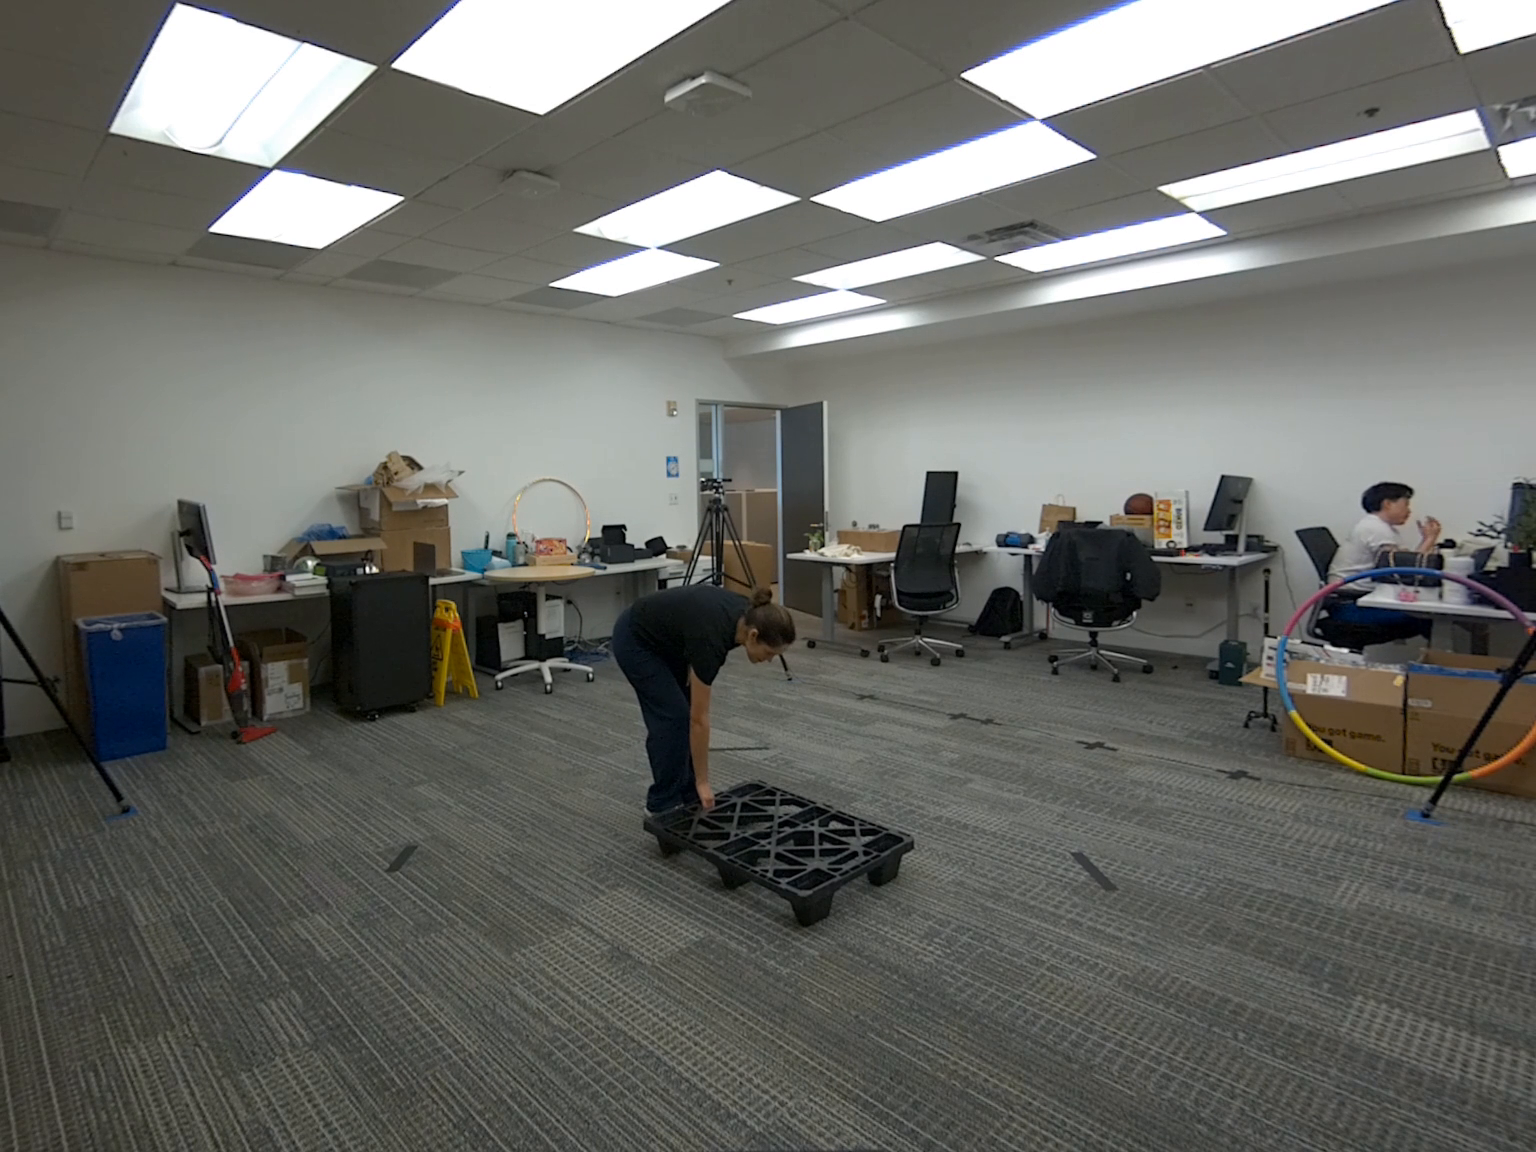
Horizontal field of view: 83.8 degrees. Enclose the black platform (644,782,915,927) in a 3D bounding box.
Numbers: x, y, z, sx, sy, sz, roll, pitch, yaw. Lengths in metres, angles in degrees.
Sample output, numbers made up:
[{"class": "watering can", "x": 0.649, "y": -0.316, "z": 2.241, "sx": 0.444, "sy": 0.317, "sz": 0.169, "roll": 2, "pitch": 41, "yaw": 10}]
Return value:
[{"class": "black platform", "x": 0.026, "y": 0.971, "z": 3.093, "sx": 0.589, "sy": 0.142, "sz": 0.831, "roll": -6, "pitch": 10, "yaw": -45}]
